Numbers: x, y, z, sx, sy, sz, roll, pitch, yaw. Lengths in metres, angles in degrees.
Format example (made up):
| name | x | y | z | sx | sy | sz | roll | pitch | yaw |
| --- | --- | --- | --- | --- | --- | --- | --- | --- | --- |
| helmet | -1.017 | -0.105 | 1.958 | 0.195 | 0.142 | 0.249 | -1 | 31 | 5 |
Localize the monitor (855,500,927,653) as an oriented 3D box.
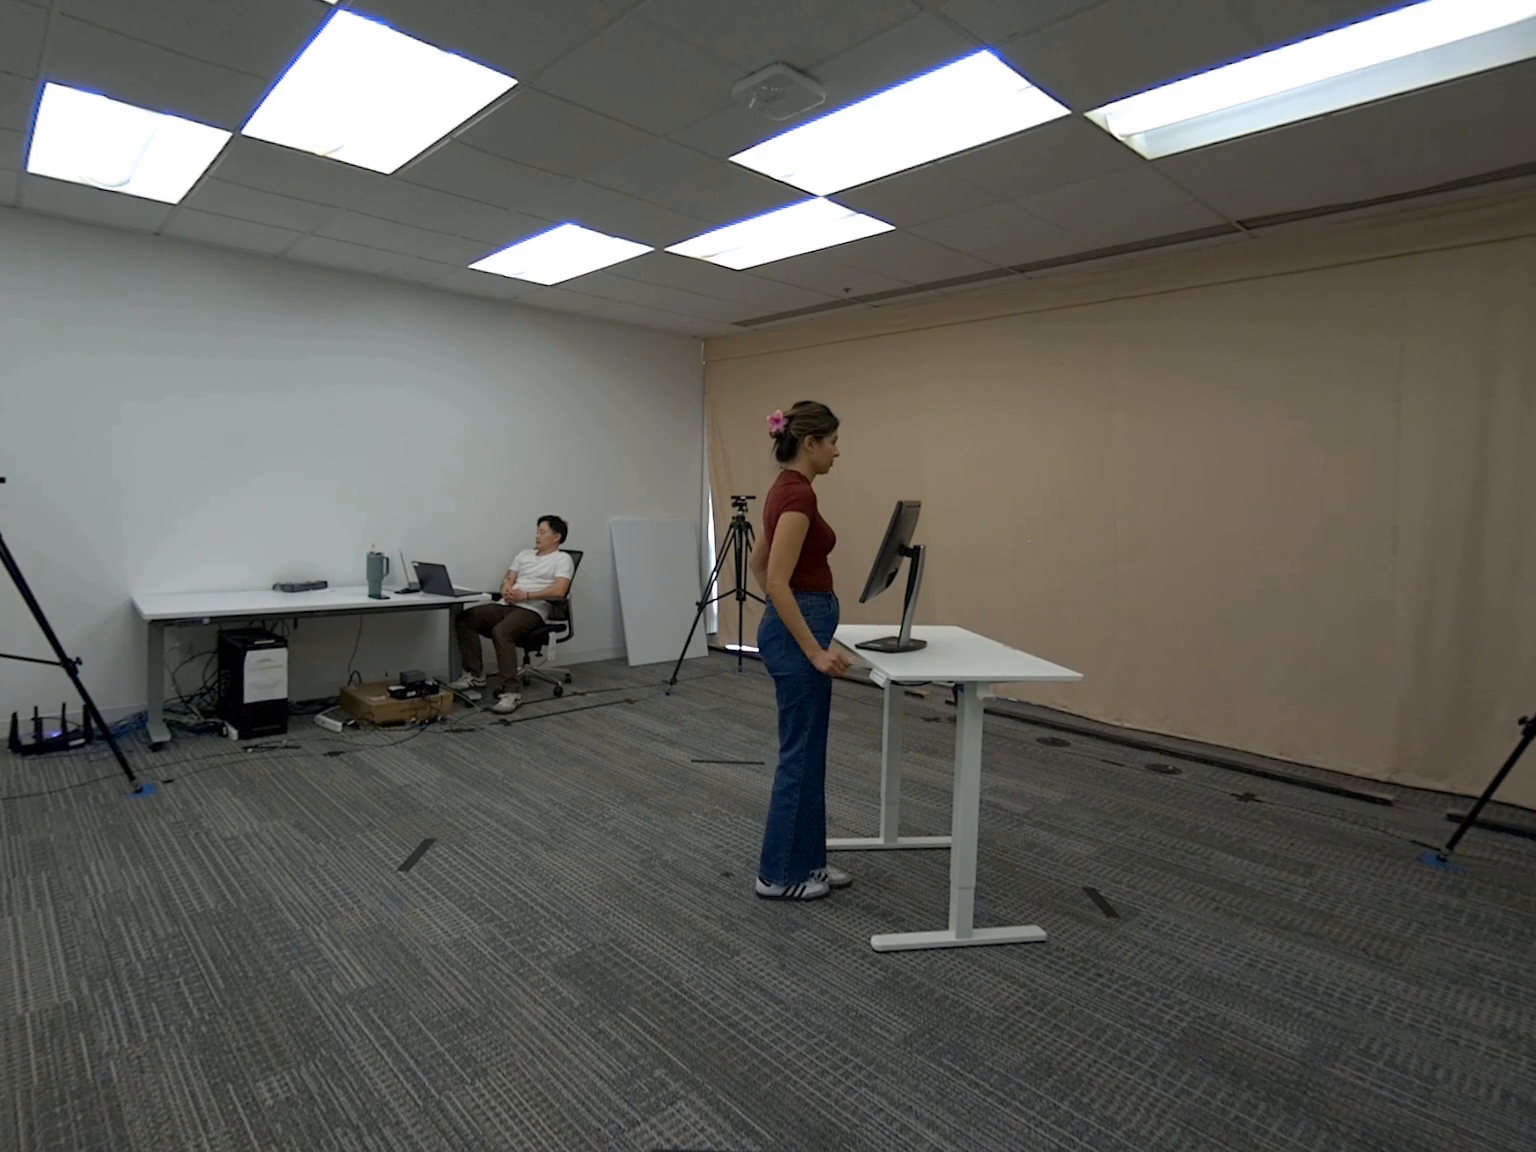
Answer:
| name | x | y | z | sx | sy | sz | roll | pitch | yaw |
| --- | --- | --- | --- | --- | --- | --- | --- | --- | --- |
| monitor | 0.454 | -0.002 | 2.925 | 0.190 | 0.520 | 0.534 | 6 | 6 | 15 |
